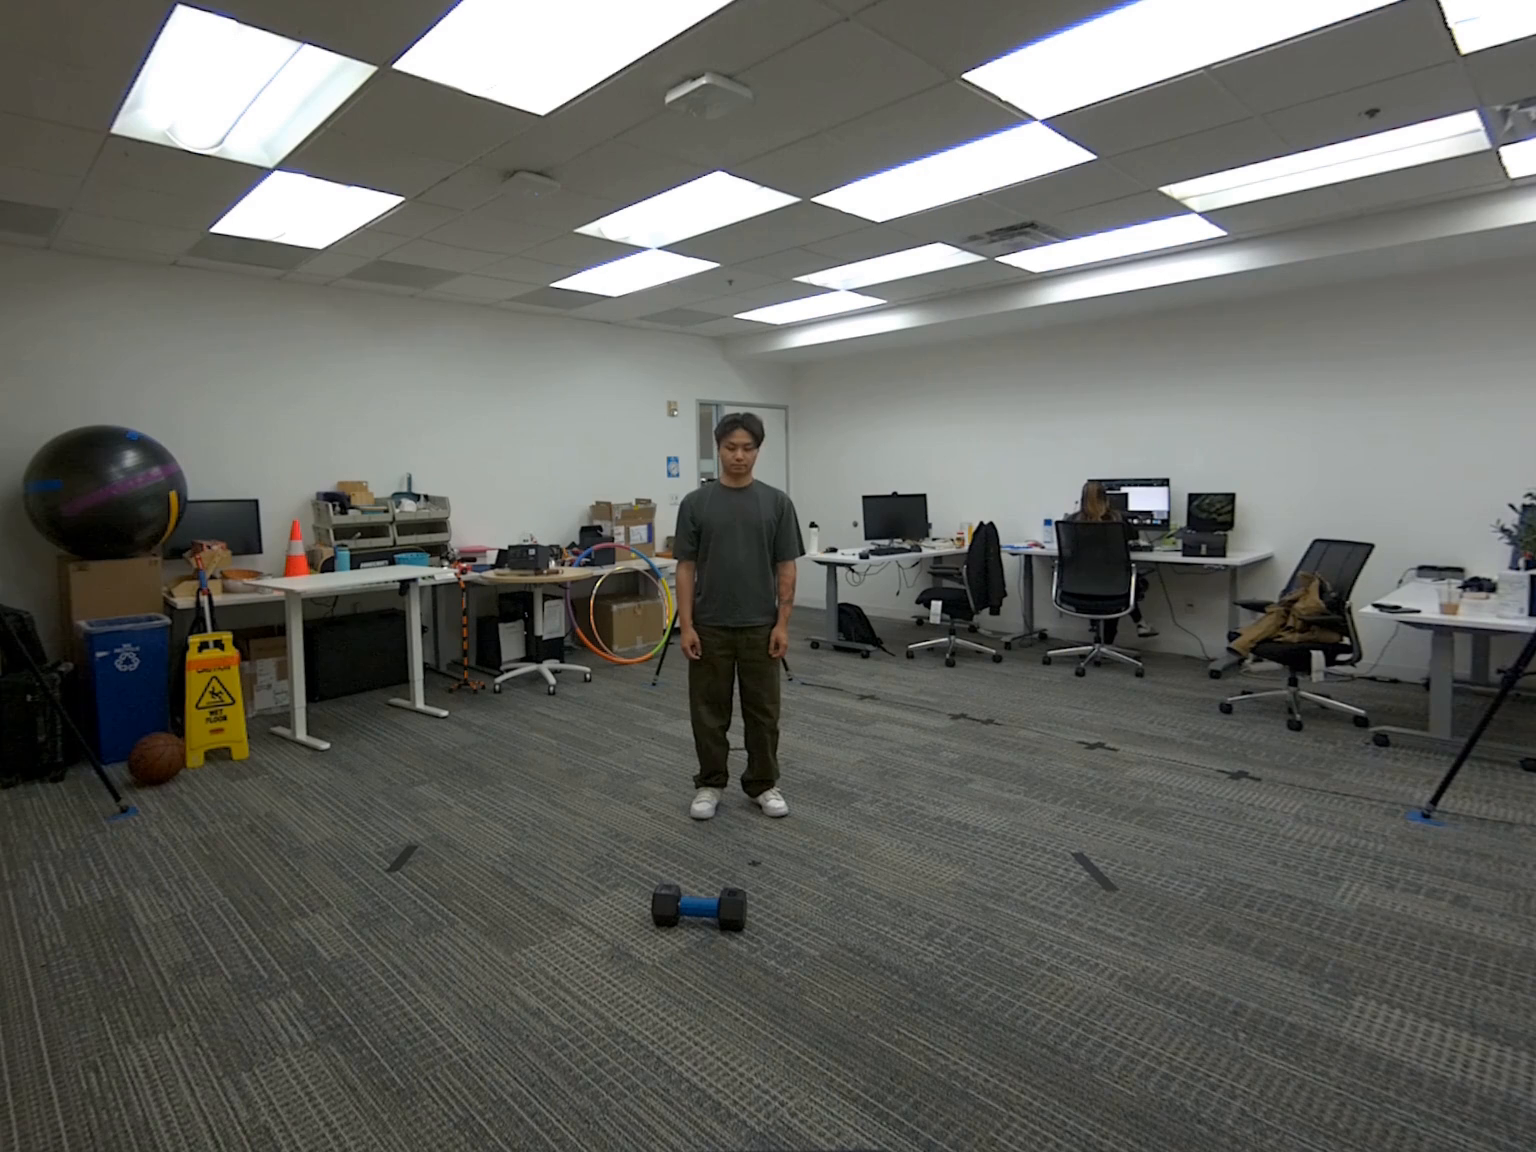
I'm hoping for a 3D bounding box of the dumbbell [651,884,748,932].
[{"bbox_3d":[-0.212,1.047,2.687,0.296,0.119,0.111,0,36,8],"label":"dumbbell"}]
